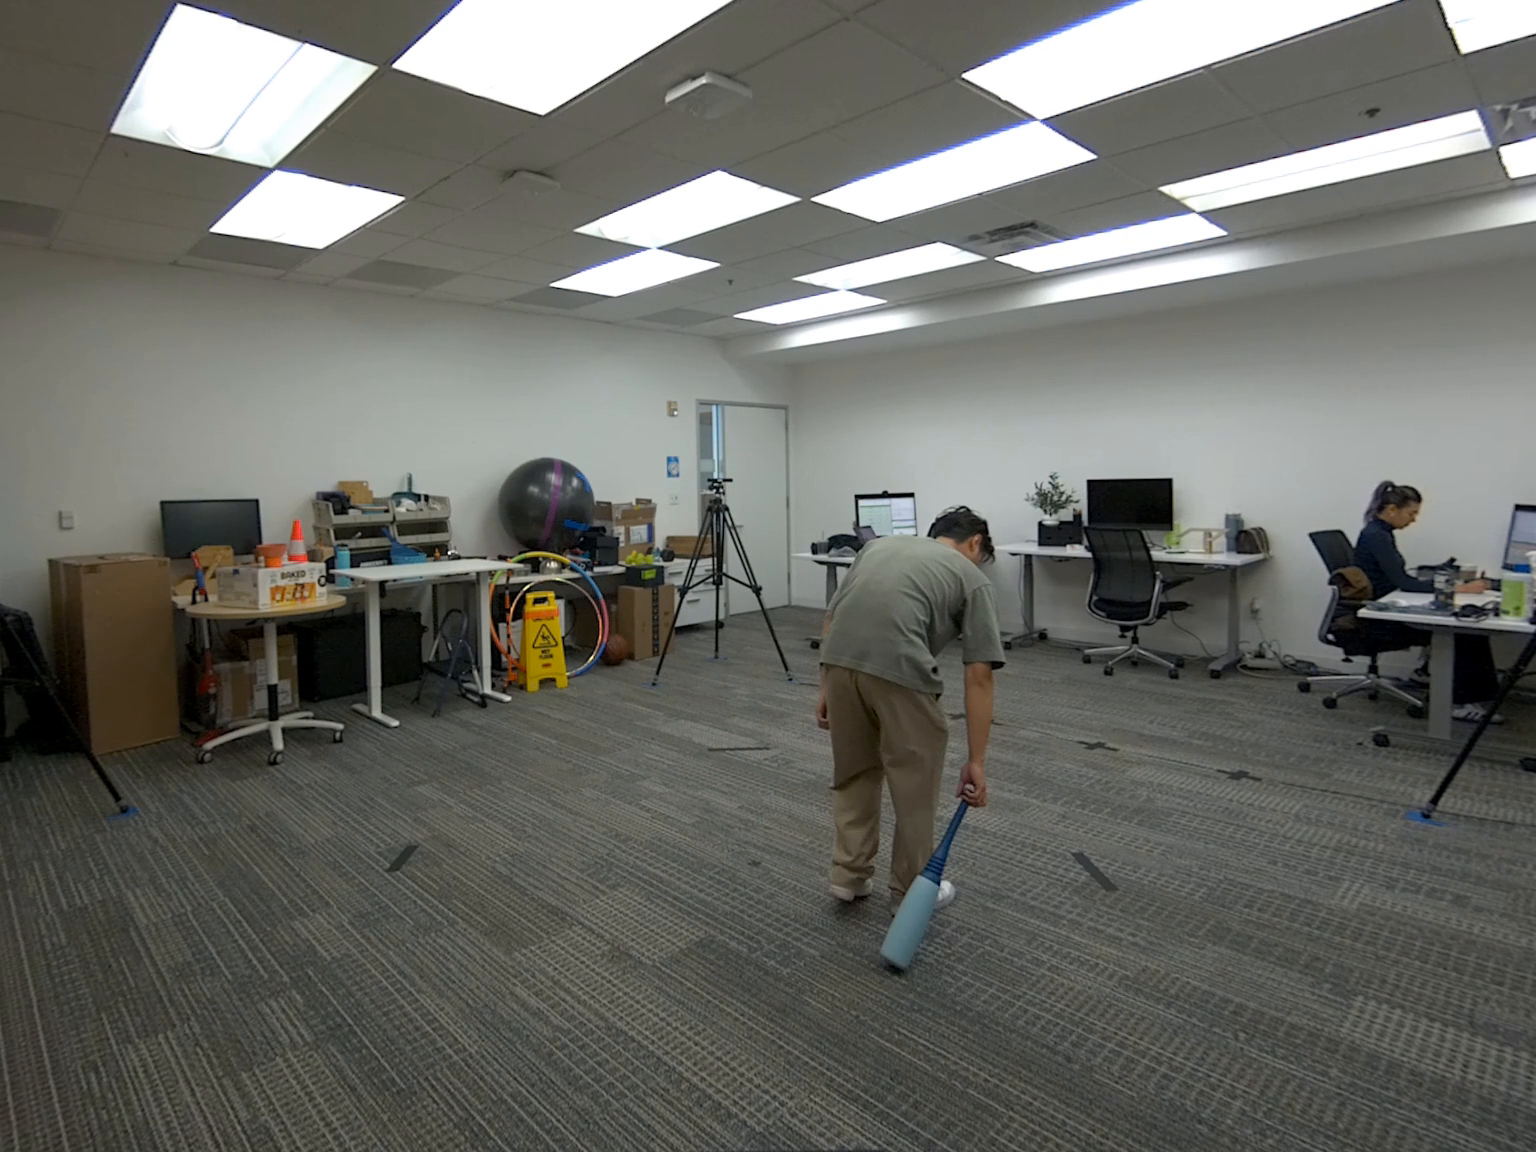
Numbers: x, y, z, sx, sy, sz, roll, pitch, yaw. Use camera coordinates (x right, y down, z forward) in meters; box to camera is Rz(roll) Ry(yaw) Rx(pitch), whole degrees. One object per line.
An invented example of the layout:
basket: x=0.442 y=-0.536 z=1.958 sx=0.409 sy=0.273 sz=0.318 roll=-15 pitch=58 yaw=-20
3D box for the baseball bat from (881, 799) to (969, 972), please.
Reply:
baseball bat: x=0.483 y=0.885 z=2.499 sx=0.090 sy=0.545 sz=0.087 roll=29 pitch=-18 yaw=8
